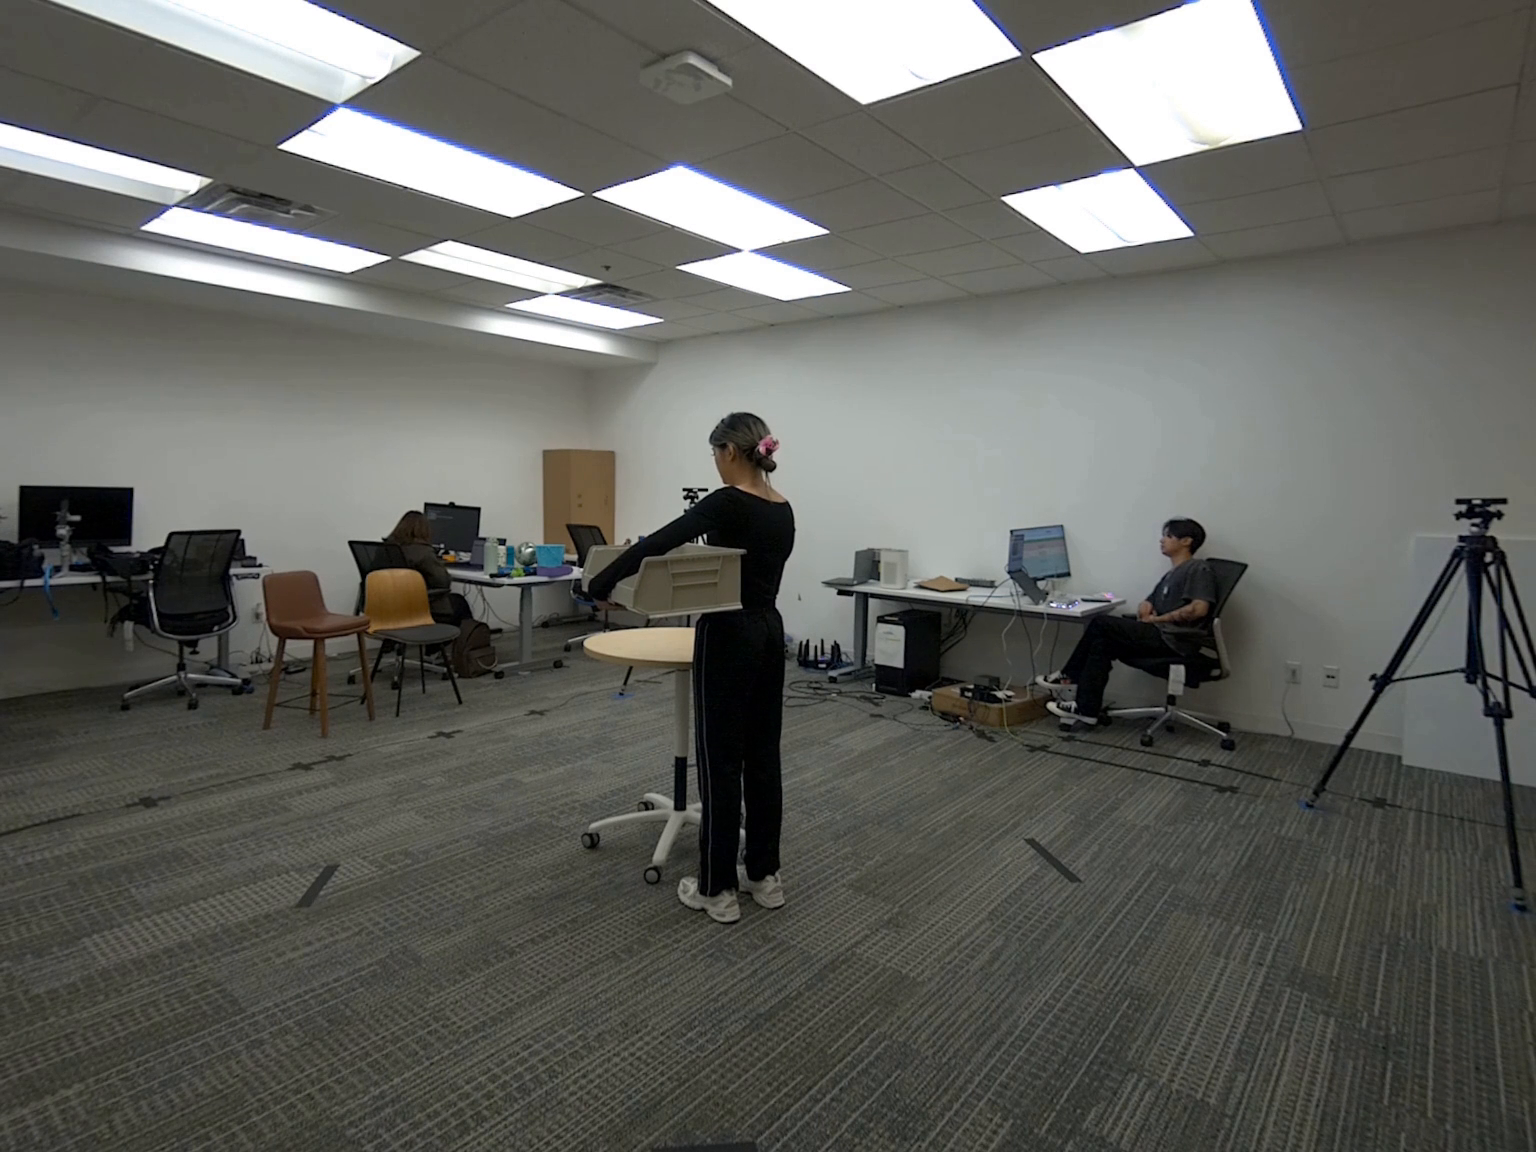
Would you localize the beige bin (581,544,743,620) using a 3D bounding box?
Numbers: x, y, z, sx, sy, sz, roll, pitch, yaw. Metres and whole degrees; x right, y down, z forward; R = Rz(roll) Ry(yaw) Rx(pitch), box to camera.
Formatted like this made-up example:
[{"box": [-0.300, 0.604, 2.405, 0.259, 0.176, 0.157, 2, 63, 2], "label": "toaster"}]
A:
[{"box": [-0.352, 0.007, 2.670, 0.367, 0.188, 0.436, -4, 7, -30], "label": "beige bin"}]
